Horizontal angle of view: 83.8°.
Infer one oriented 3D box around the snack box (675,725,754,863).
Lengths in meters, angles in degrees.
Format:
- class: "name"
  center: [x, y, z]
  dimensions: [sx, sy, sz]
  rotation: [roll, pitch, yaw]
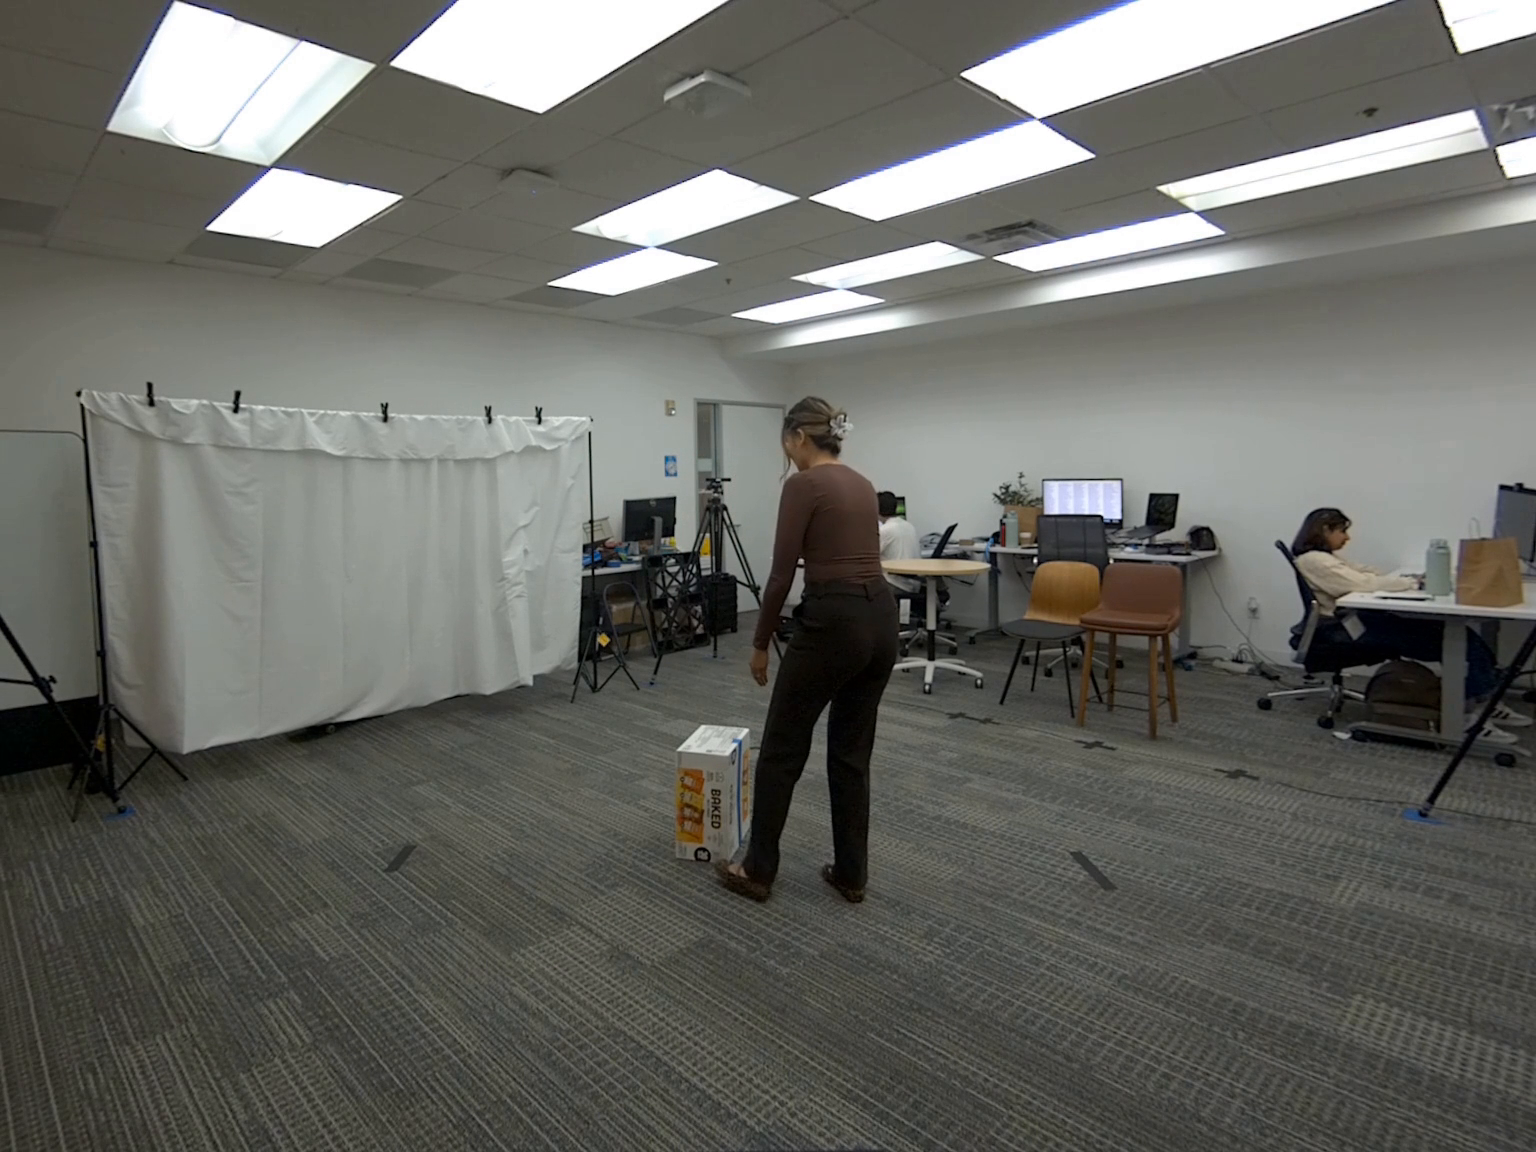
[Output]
- class: "snack box"
  center: [-0.205, 0.821, 3.270]
  dimensions: [0.208, 0.403, 0.337]
  rotation: [1, 5, 13]
